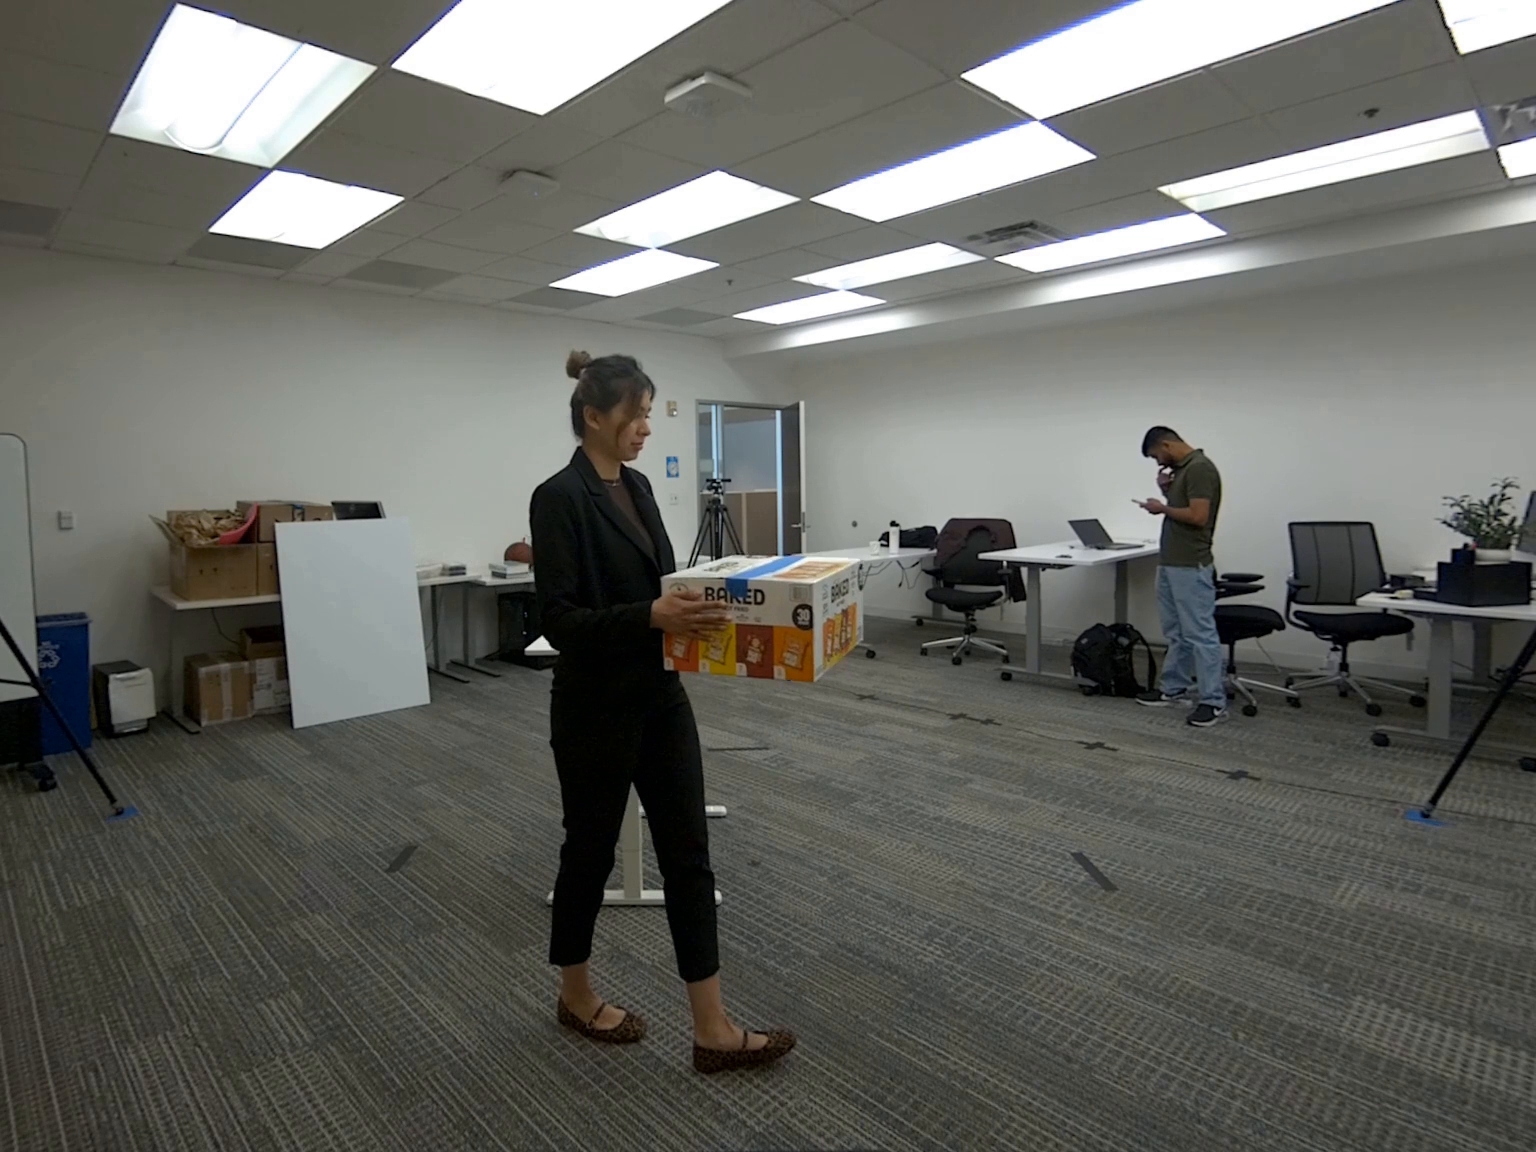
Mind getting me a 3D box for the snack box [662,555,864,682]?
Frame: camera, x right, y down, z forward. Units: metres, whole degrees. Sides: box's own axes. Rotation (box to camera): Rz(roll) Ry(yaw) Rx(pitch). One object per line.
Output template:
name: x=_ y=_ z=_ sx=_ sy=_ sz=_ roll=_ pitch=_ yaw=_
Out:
snack box: x=0.004 y=0.076 z=1.941 sx=0.348 sy=0.204 sz=0.399 roll=2 pitch=8 yaw=22
